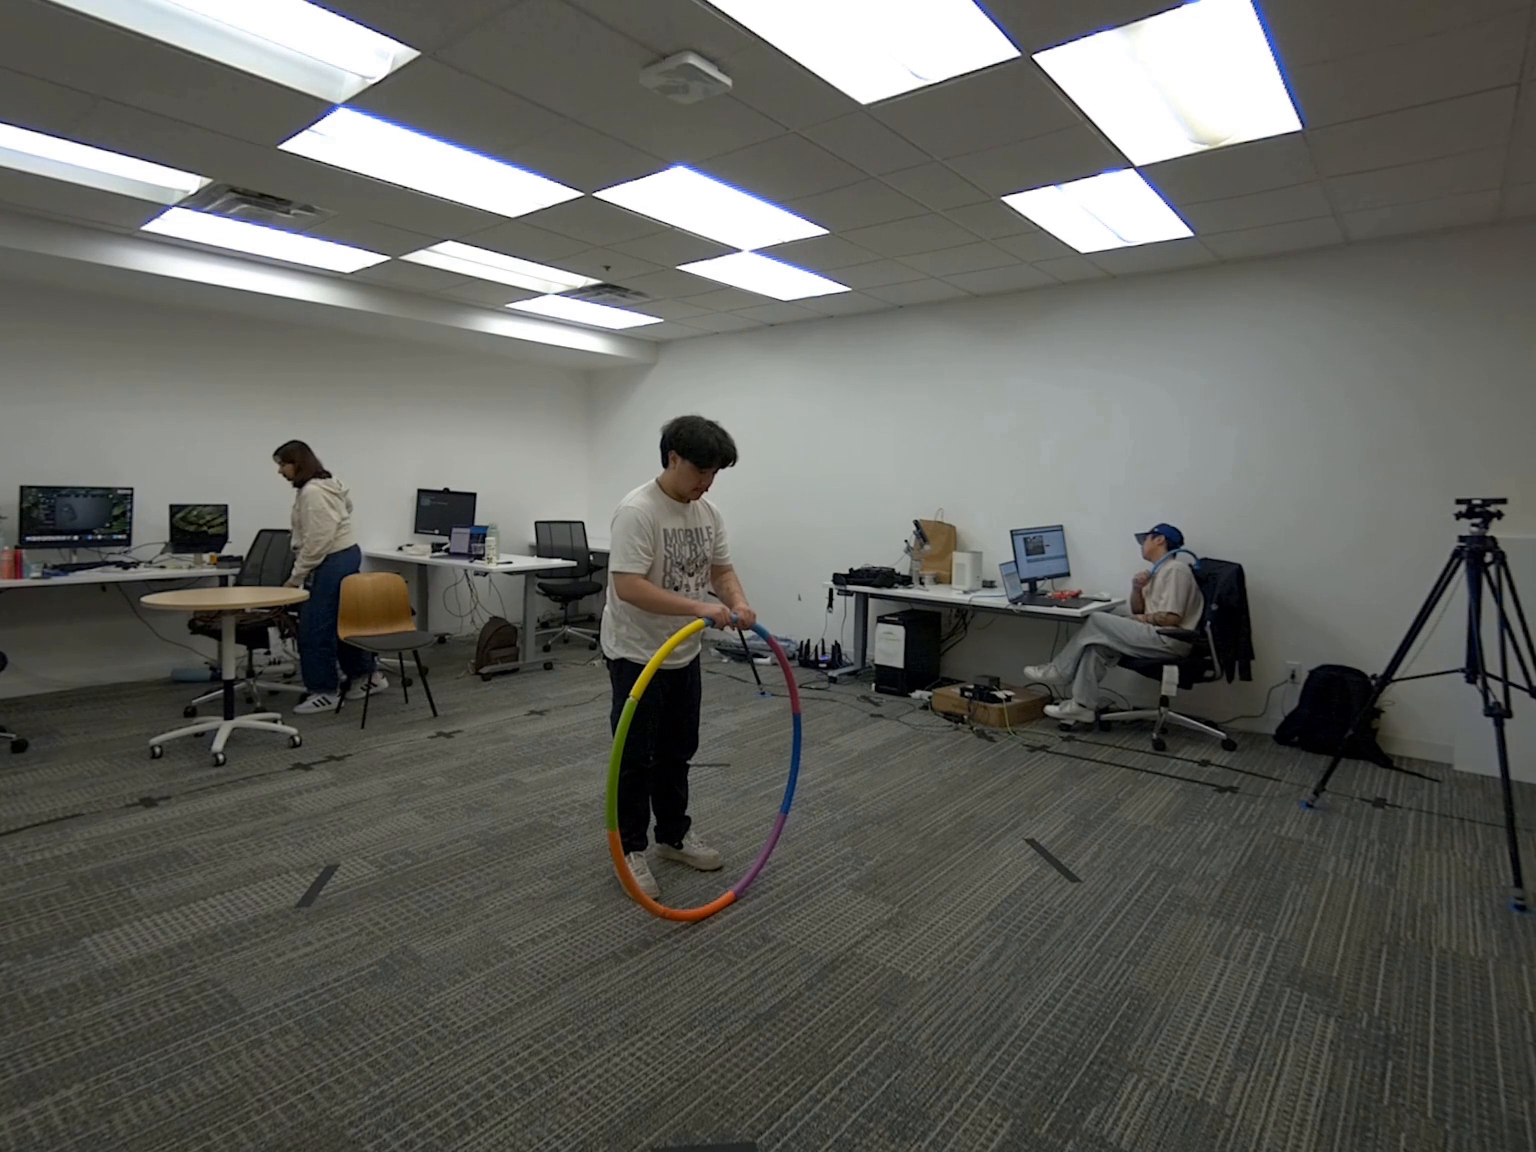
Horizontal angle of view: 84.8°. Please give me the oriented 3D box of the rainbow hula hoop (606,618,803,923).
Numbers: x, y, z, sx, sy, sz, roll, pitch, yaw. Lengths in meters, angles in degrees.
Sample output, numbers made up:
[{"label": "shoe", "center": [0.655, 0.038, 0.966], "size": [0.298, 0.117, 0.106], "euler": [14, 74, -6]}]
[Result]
[{"label": "rainbow hula hoop", "center": [-0.179, 0.614, 2.789], "size": [0.053, 0.983, 0.957], "euler": [1, 3, 38]}]
